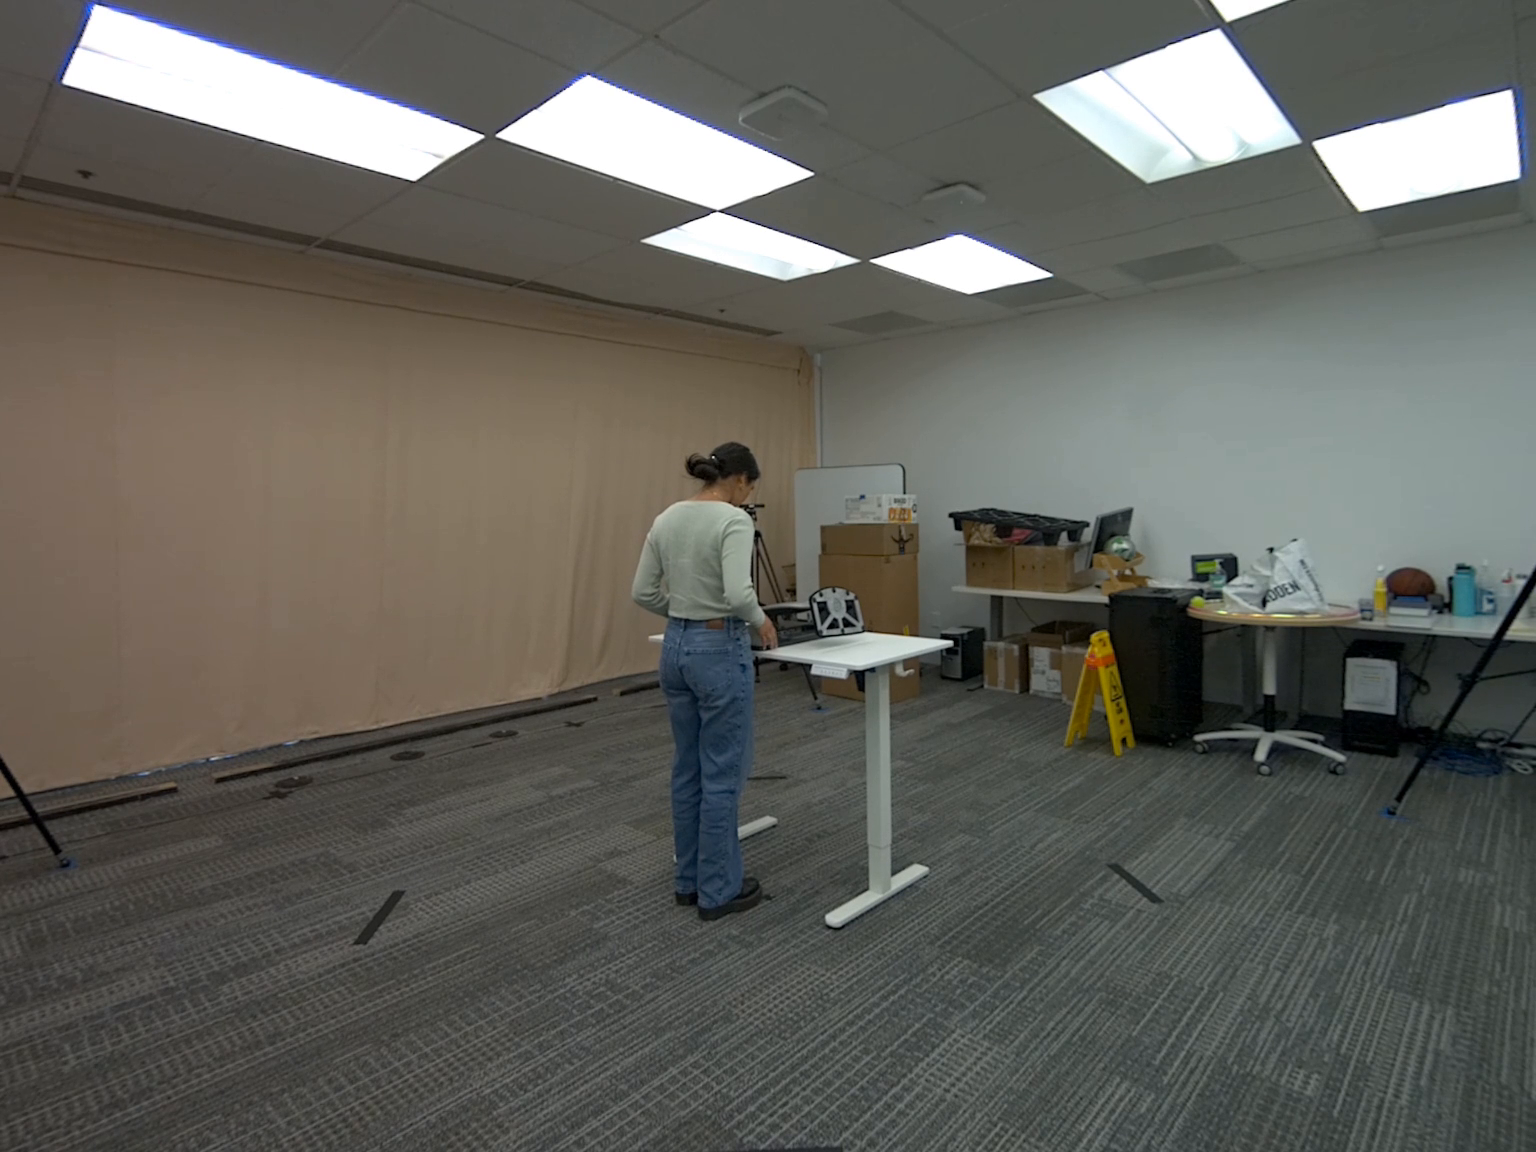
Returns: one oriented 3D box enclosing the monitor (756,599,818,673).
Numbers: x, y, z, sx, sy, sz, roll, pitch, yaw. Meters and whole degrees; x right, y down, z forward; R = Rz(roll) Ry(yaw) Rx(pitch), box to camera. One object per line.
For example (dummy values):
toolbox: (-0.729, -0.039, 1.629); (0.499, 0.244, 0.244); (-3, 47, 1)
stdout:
monitor: (0.072, 0.180, 3.169); (0.536, 0.188, 0.522); (-16, -10, 43)
